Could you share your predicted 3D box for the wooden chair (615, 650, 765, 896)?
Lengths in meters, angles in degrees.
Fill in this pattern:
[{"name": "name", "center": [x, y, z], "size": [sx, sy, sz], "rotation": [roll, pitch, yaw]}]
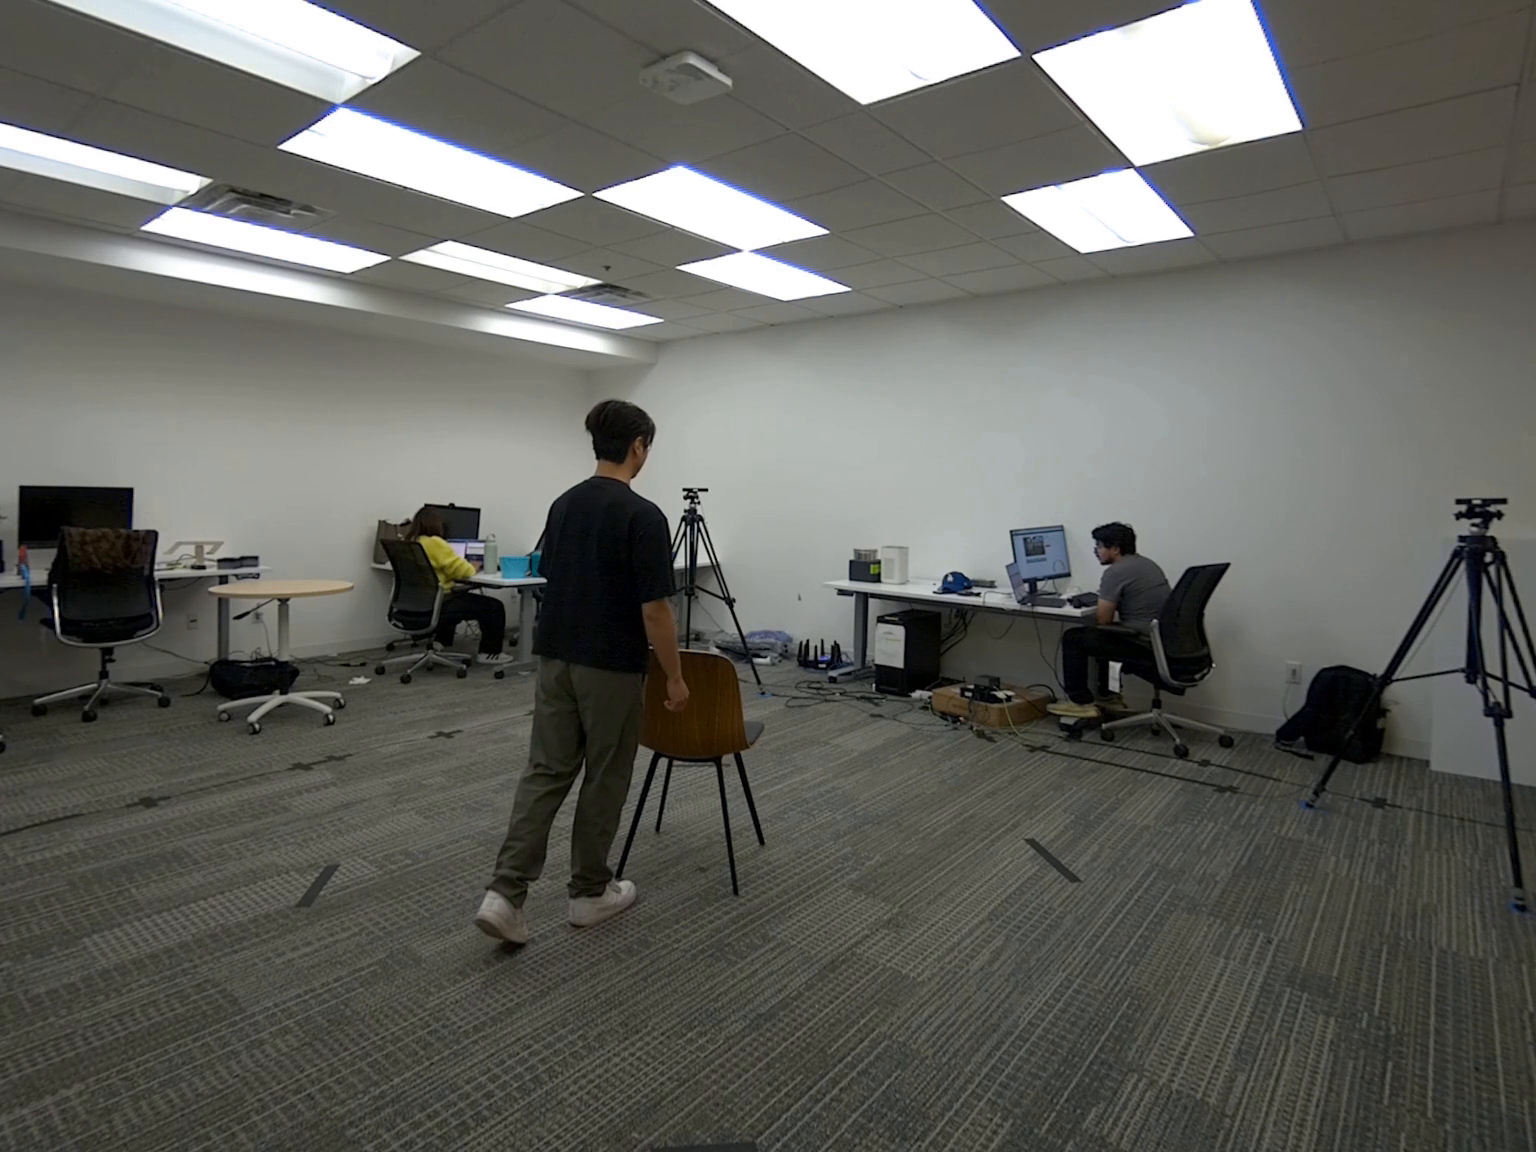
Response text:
[{"name": "wooden chair", "center": [-0.277, 0.634, 3.161], "size": [0.486, 0.872, 0.518], "rotation": [2, 7, 14]}]
